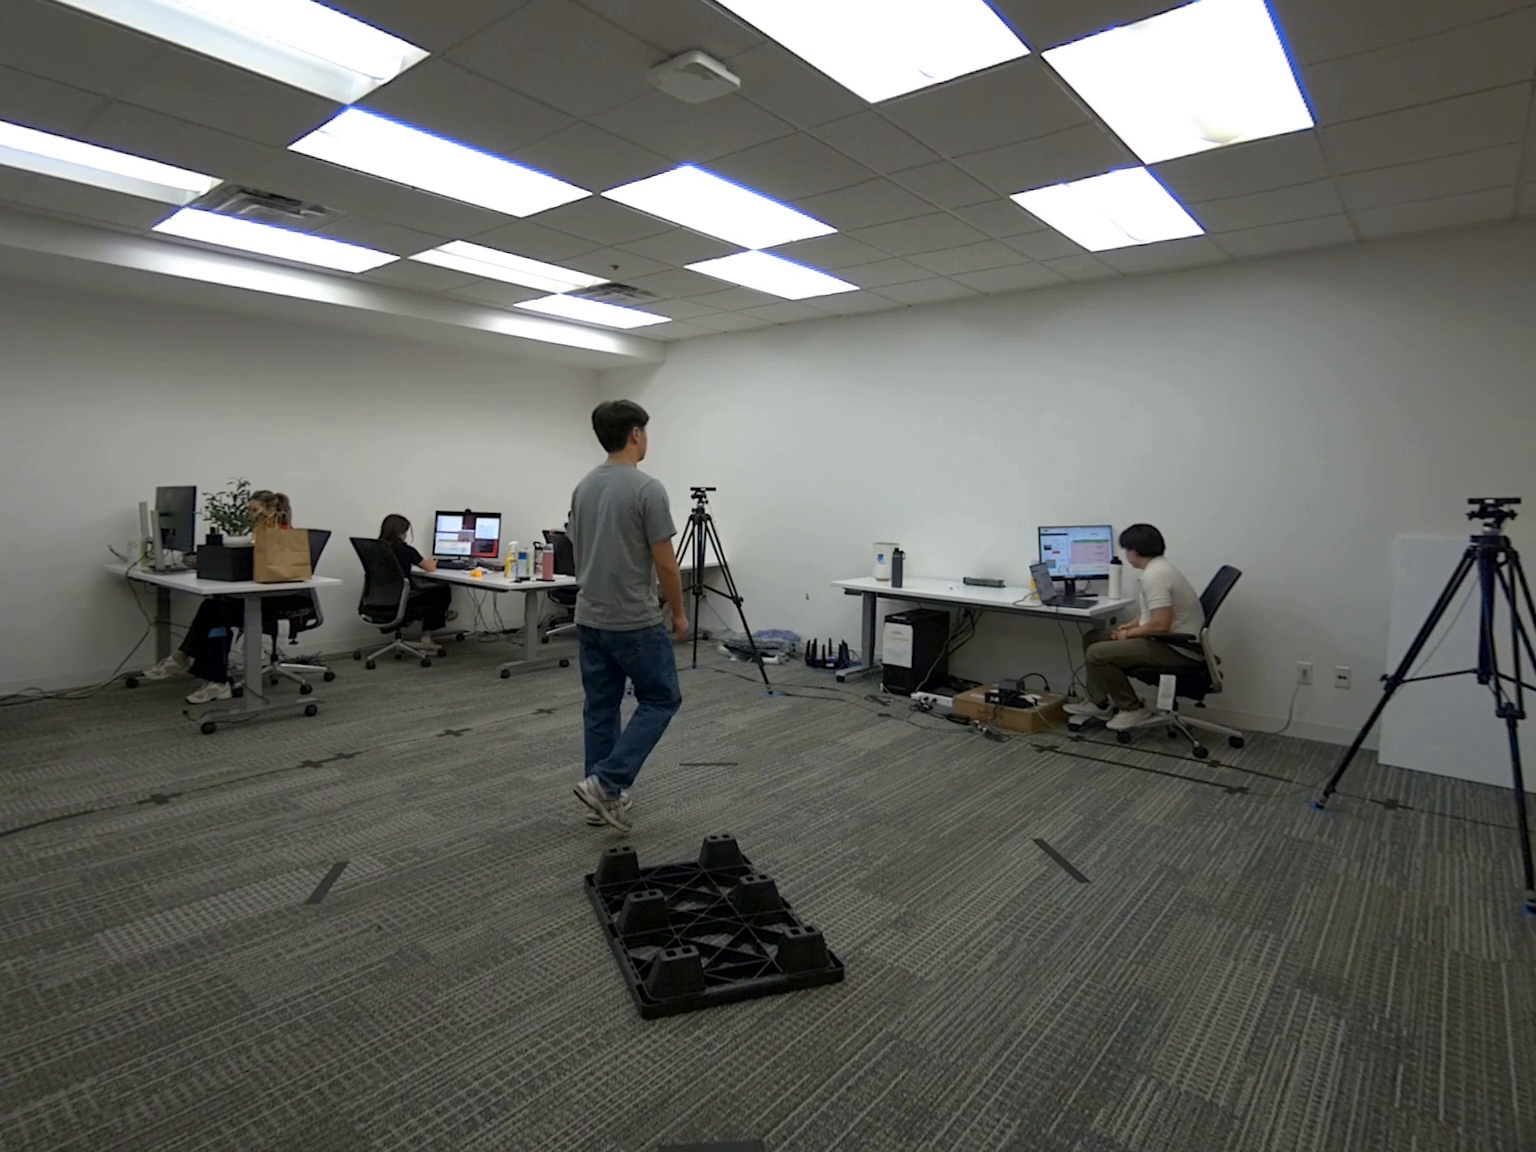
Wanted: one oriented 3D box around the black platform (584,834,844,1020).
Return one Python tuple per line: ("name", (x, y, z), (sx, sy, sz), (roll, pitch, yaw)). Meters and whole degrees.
("black platform", (-0.211, 1.039, 2.679), (0.592, 0.143, 0.827), (-2, 7, -23))
